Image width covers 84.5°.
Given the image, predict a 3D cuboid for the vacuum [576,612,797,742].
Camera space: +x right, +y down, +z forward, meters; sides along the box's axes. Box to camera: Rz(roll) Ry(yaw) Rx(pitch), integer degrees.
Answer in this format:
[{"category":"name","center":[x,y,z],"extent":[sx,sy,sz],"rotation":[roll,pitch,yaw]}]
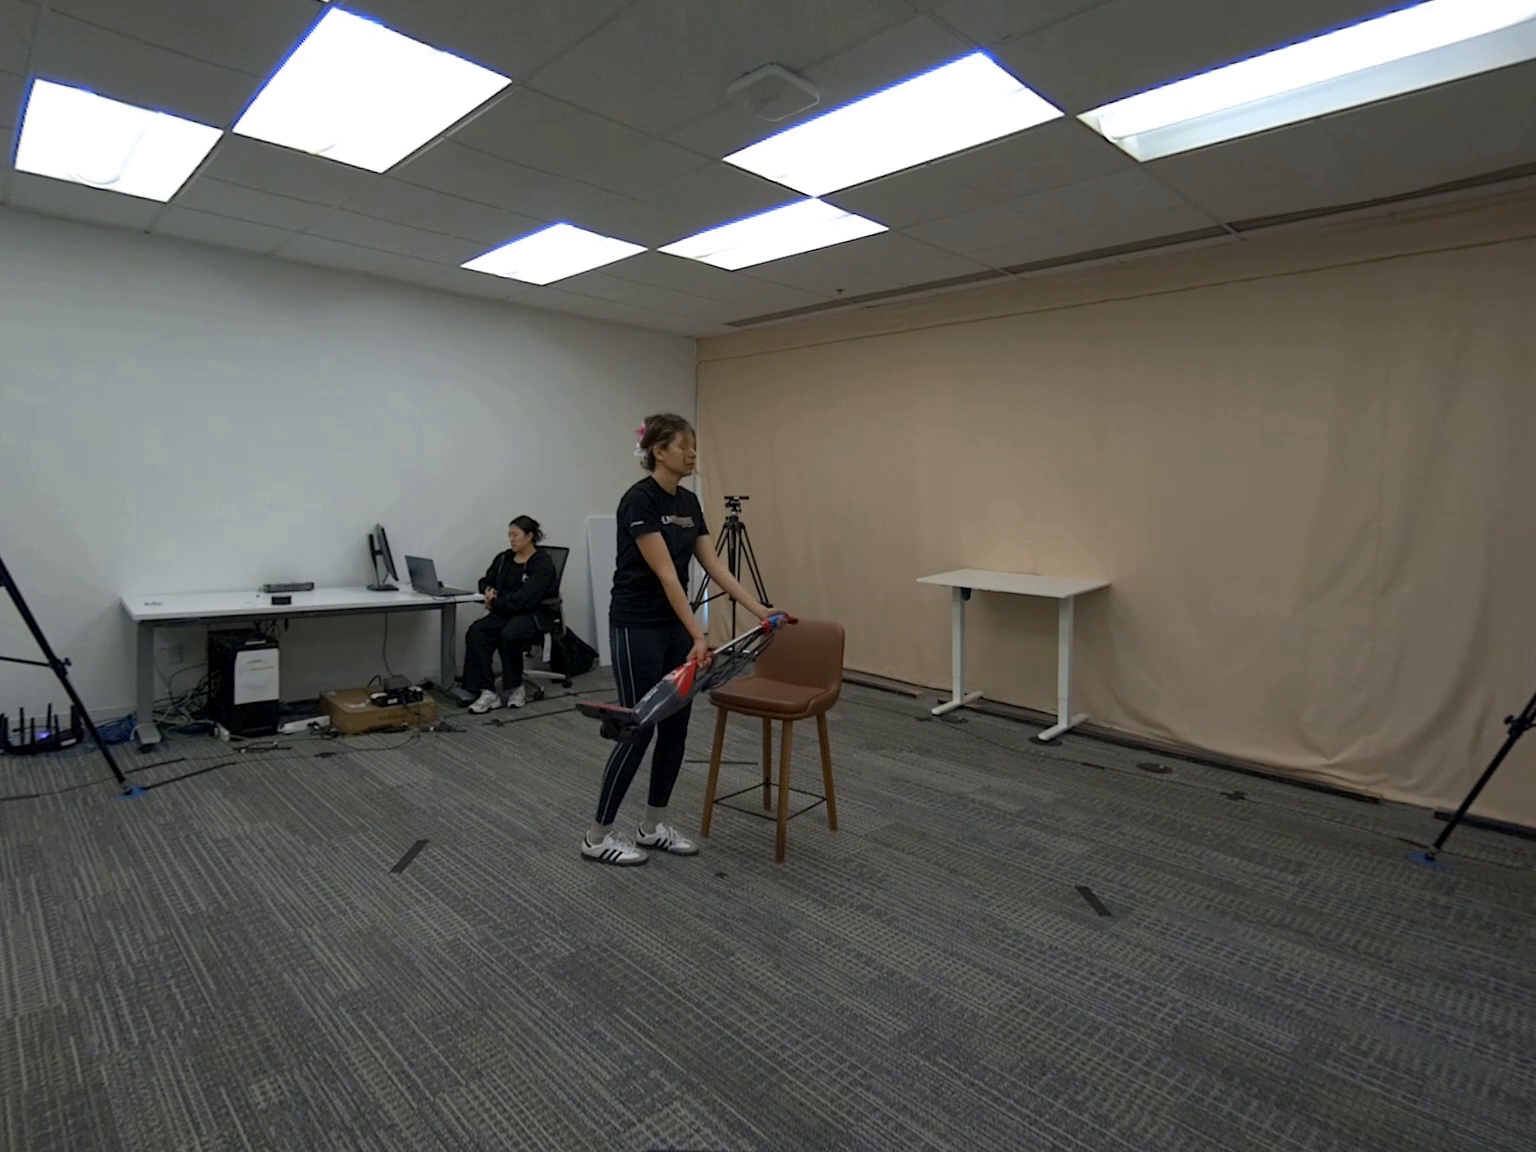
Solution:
[{"category":"vacuum","center":[-0.191,0.333,2.976],"extent":[0.259,0.142,1.035],"rotation":[3,17,38]}]
